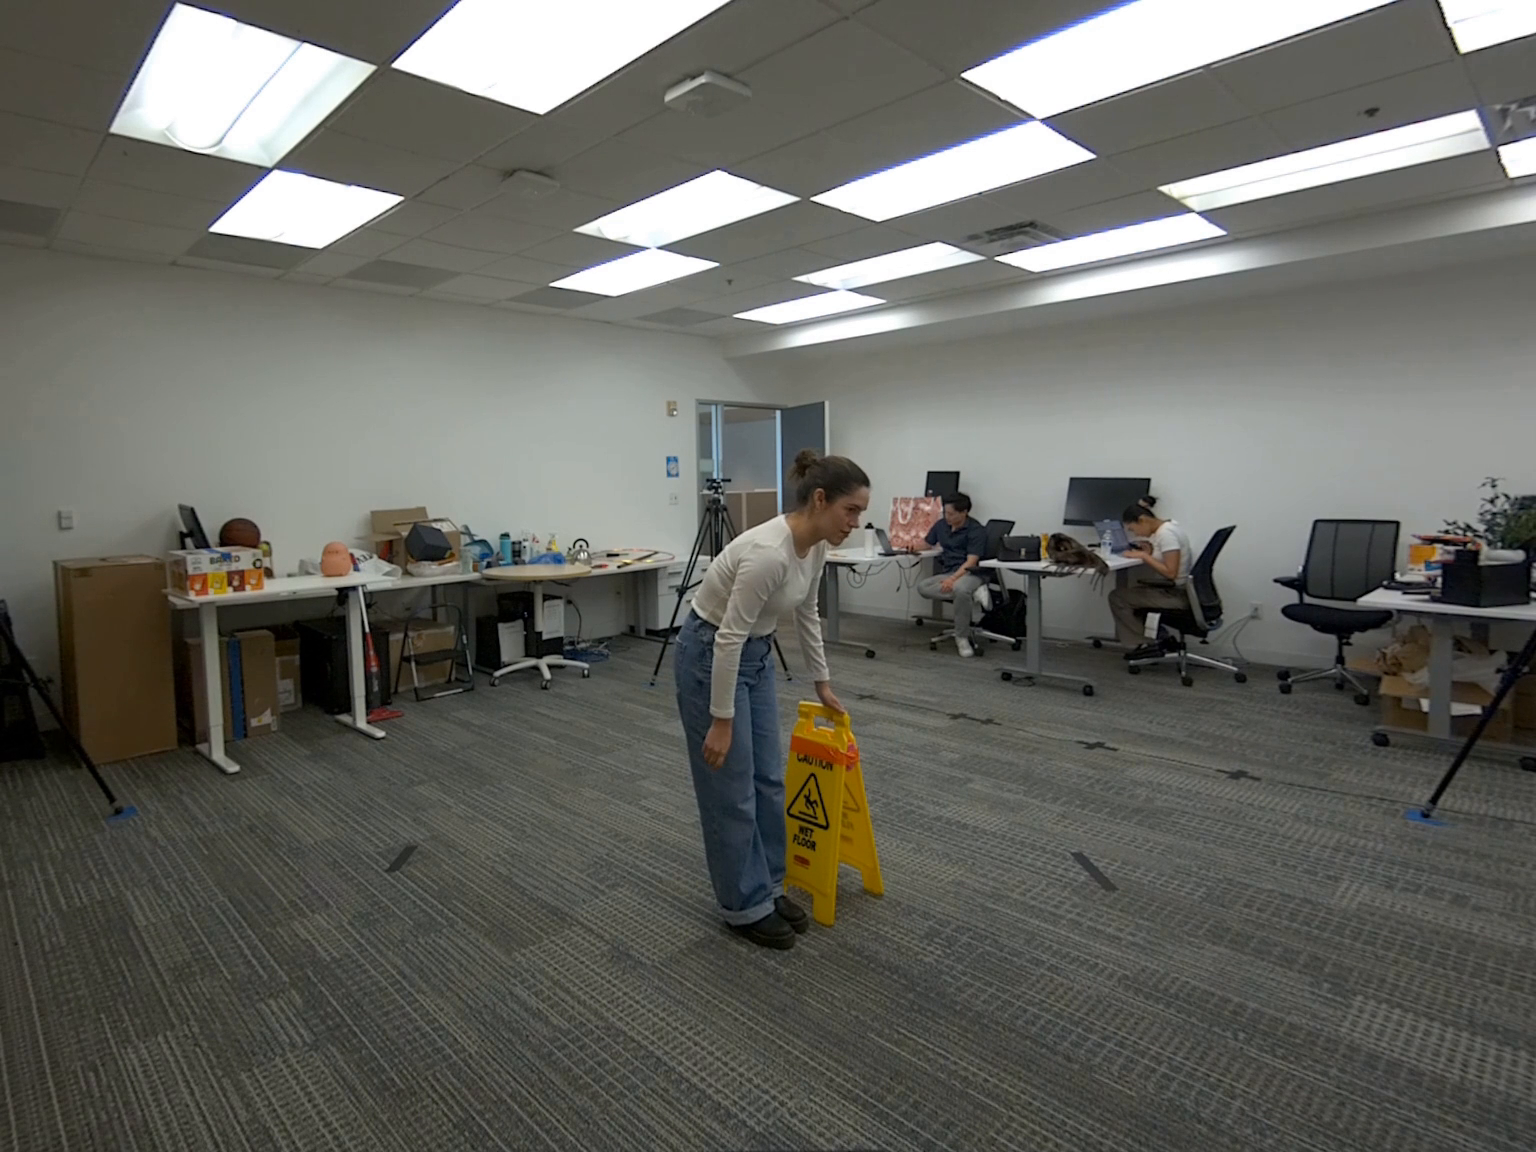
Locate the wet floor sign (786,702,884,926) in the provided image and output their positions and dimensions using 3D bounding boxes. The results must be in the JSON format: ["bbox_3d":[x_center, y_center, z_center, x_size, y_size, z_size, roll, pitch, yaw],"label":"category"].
[{"bbox_3d":[0.187,0.749,2.833,0.291,0.643,0.282,2,6,43],"label":"wet floor sign"}]
